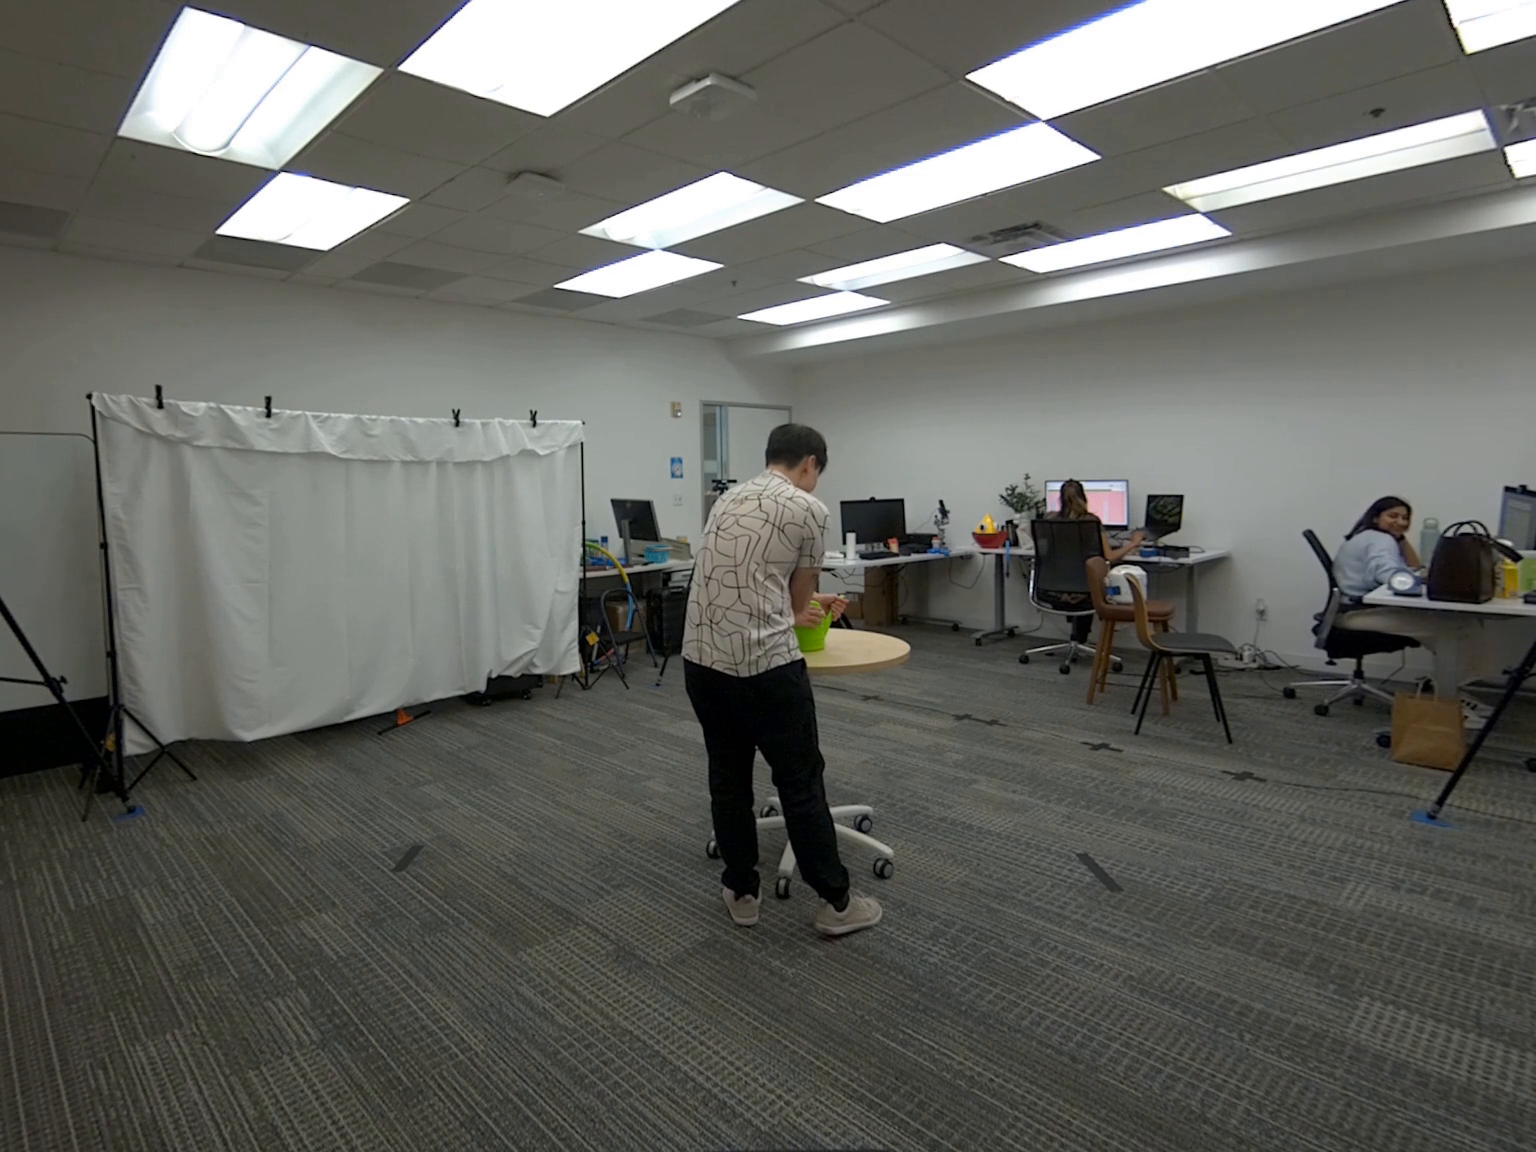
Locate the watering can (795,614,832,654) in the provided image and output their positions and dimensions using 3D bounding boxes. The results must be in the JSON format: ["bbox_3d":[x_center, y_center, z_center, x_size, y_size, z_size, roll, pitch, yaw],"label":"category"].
[{"bbox_3d":[0.189,0.171,3.091,0.272,0.175,0.101,-6,9,-27],"label":"watering can"}]
